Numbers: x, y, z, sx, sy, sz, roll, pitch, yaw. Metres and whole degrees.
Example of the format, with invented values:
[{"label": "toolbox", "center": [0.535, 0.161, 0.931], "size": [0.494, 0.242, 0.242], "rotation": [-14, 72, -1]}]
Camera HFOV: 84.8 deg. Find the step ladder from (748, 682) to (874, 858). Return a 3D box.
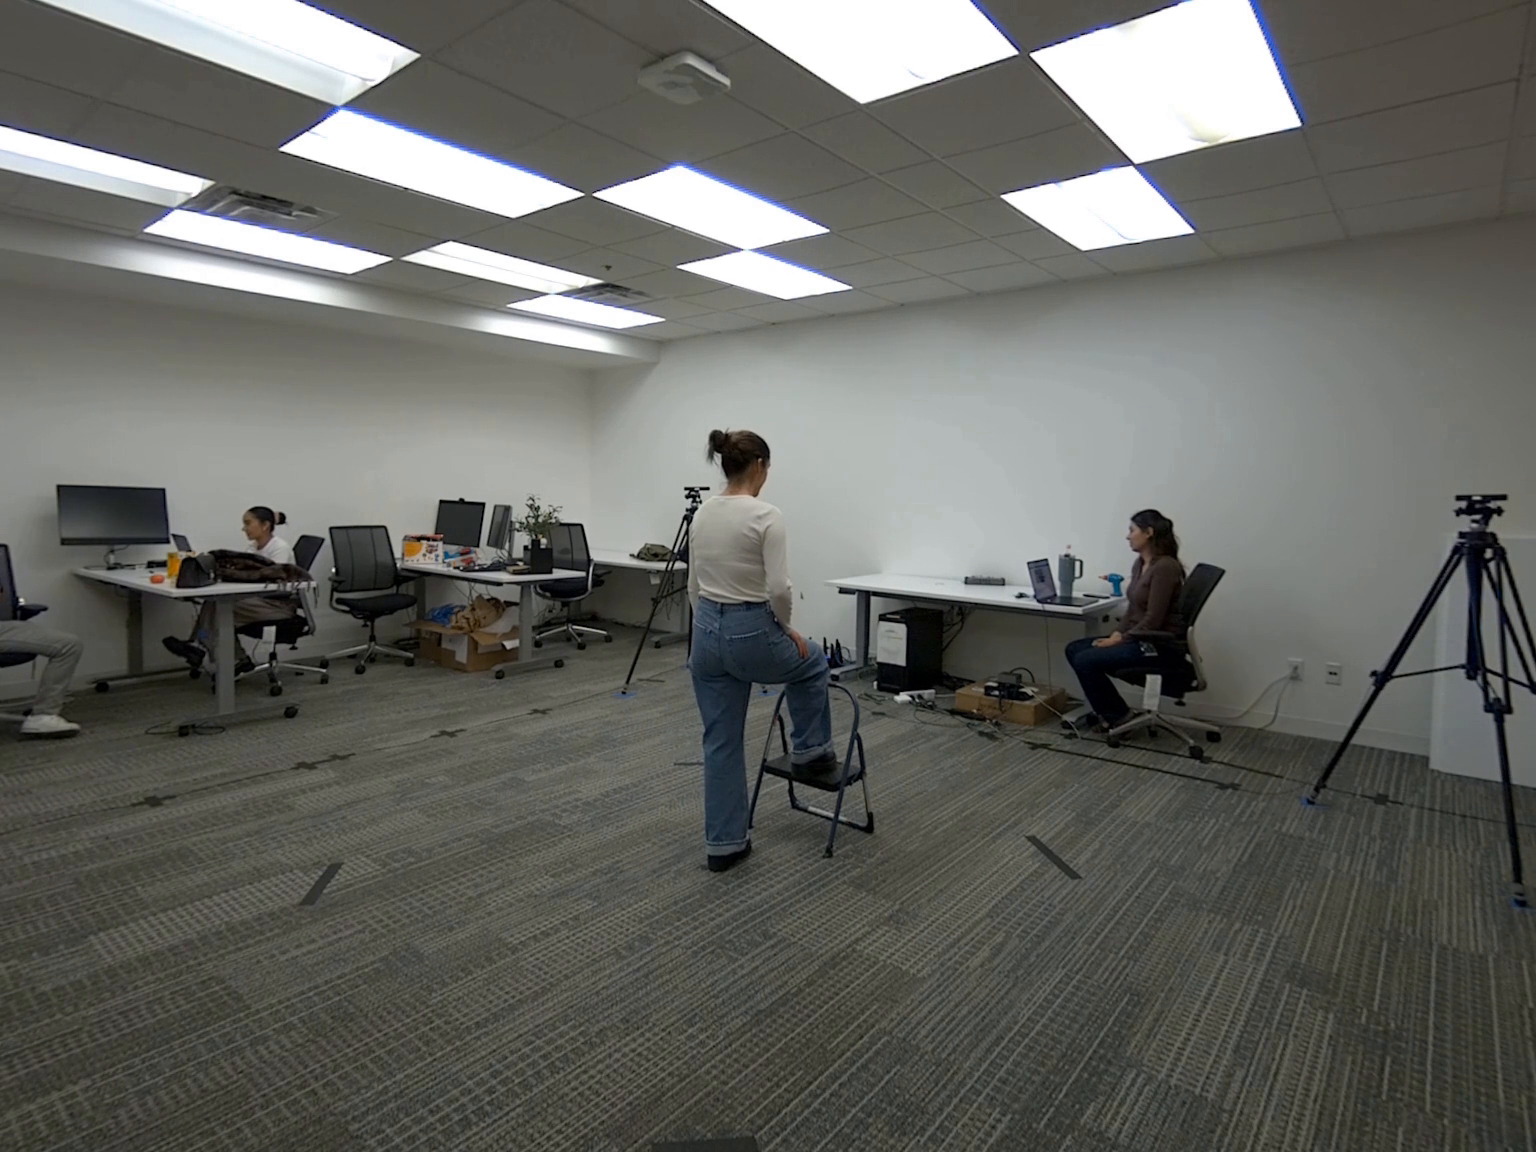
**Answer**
[{"label": "step ladder", "center": [0.169, 0.735, 3.465], "size": [0.445, 0.604, 0.339], "rotation": [4, 5, 39]}]
